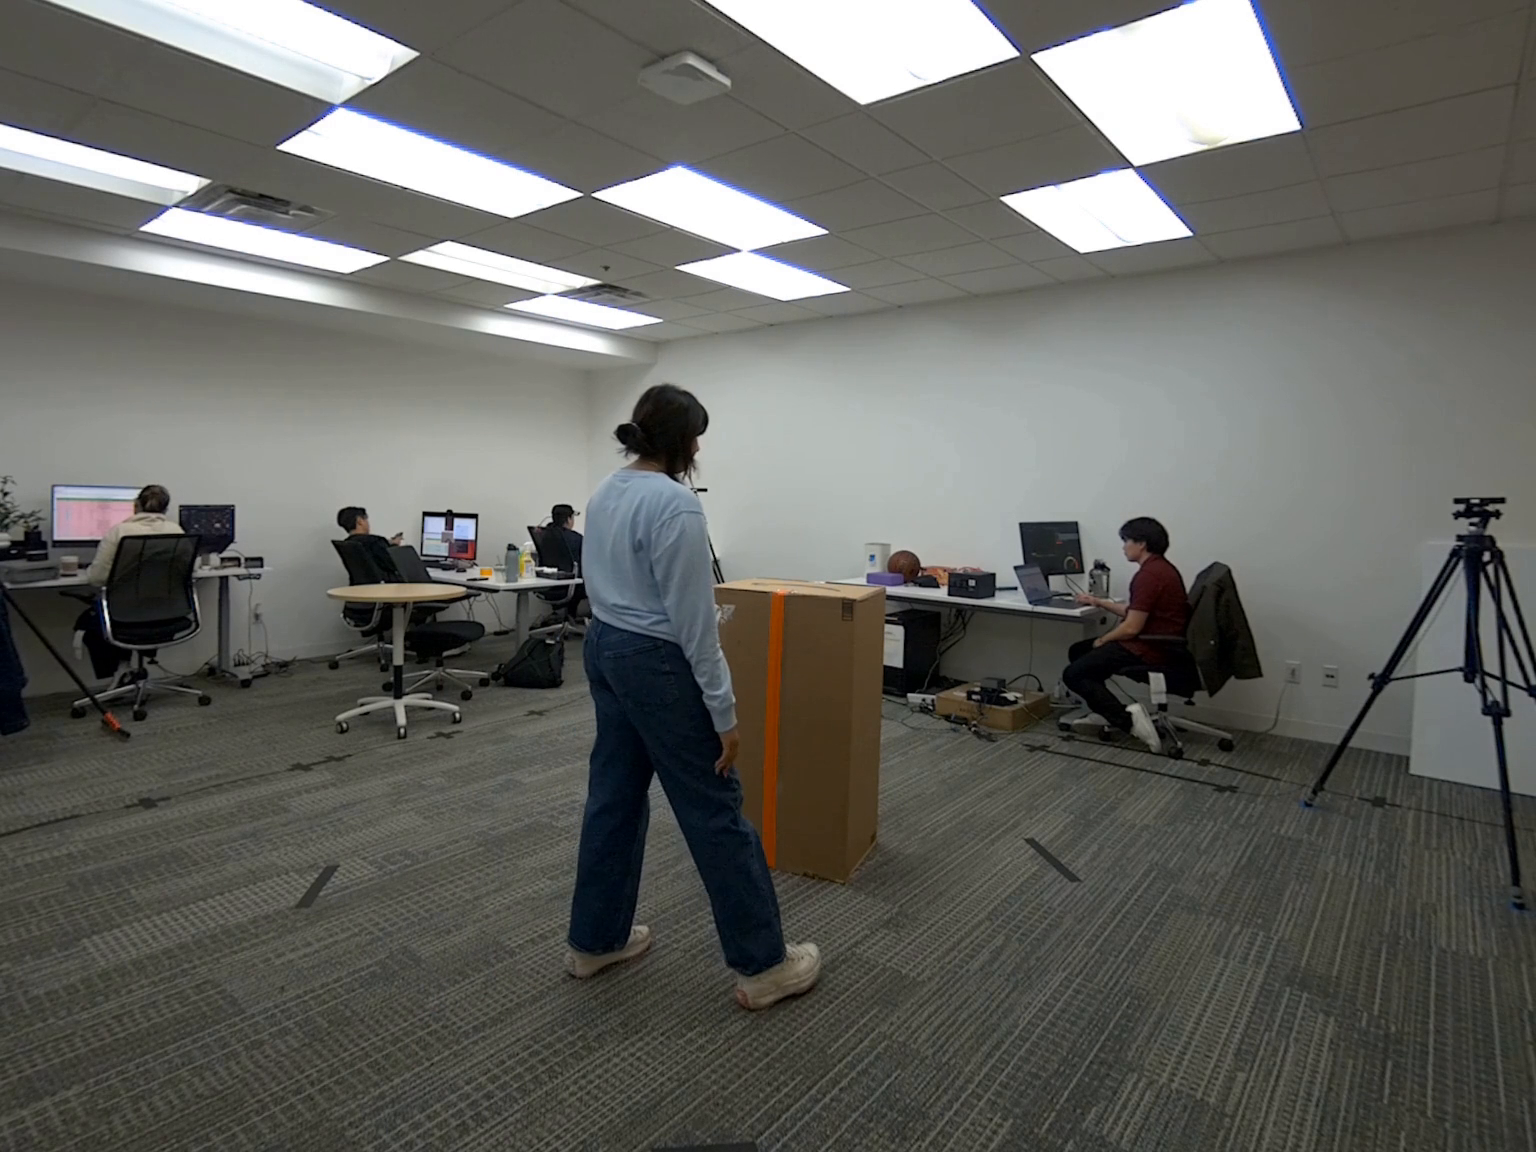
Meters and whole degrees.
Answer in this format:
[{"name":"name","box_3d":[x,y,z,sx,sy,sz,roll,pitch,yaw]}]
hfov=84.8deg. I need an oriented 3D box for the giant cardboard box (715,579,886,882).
[{"name":"giant cardboard box","box_3d":[0.103,0.547,3.293,0.593,1.022,0.416,3,4,25]}]
